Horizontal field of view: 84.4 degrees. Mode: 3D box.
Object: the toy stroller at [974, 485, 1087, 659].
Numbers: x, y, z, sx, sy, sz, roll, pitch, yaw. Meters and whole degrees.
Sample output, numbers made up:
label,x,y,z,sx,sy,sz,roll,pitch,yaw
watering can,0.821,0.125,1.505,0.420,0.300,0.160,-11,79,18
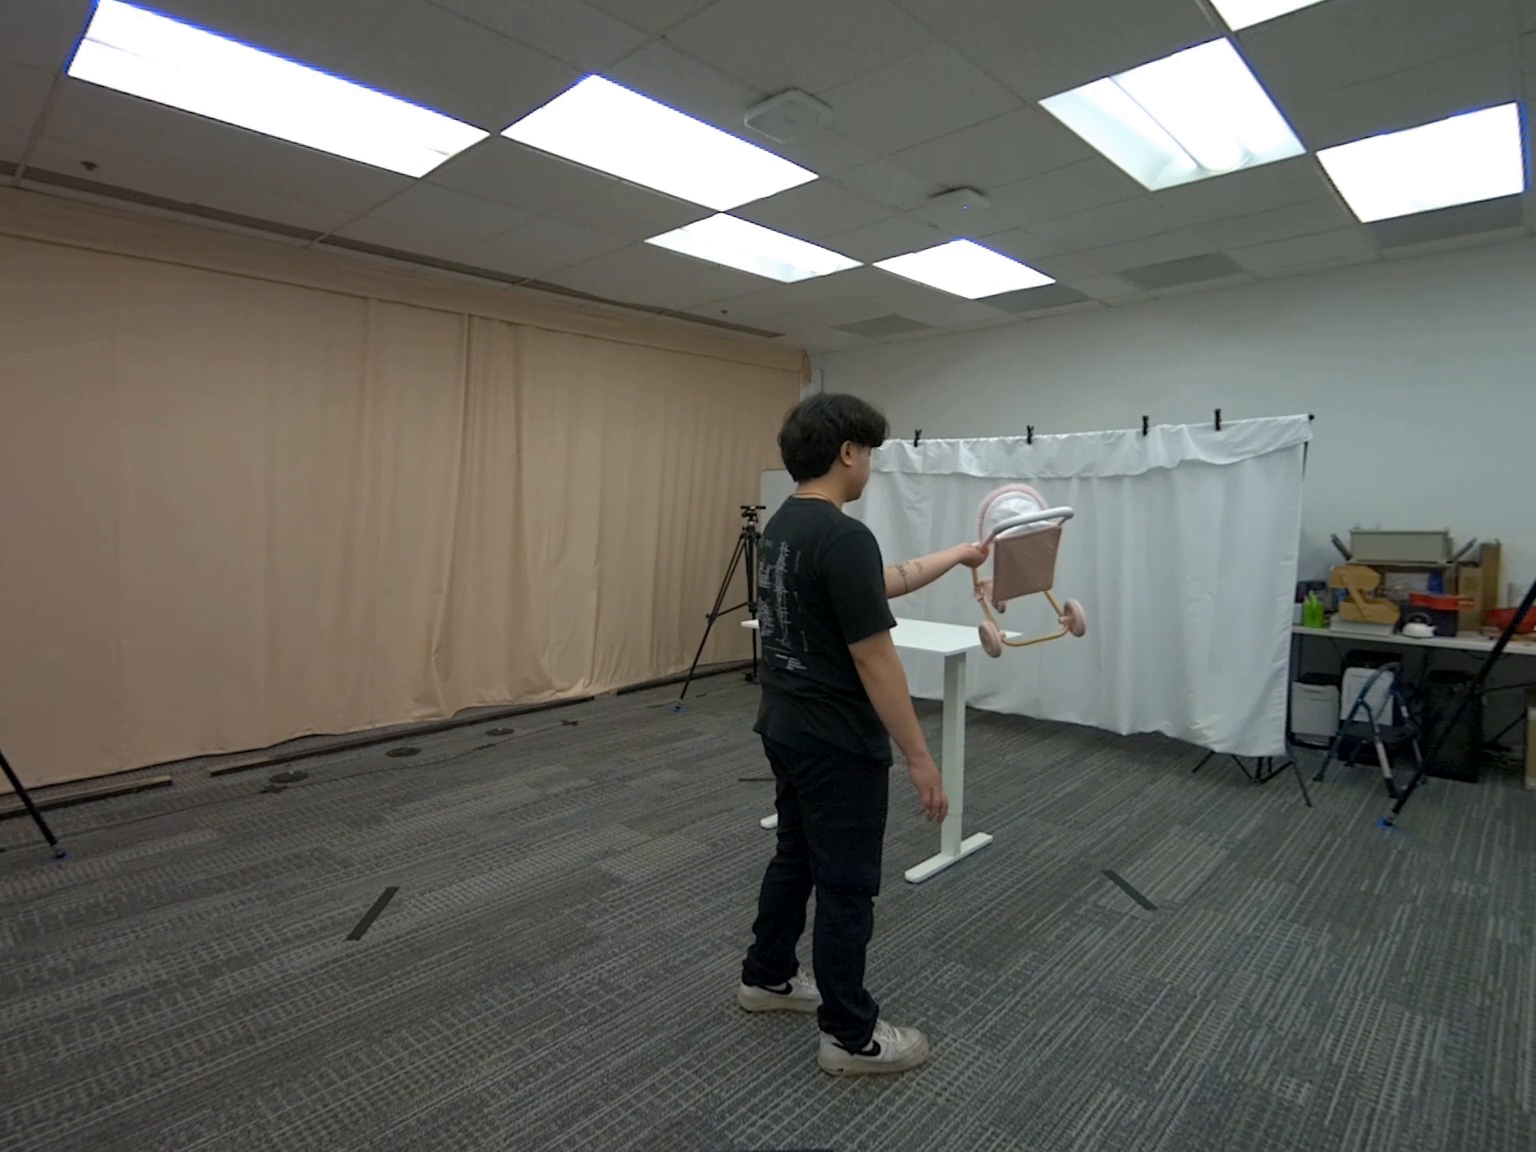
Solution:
label,x,y,z,sx,sy,sz,roll,pitch,yaw
toy stroller,0.713,-0.032,2.394,0.282,0.522,0.348,-12,32,3
